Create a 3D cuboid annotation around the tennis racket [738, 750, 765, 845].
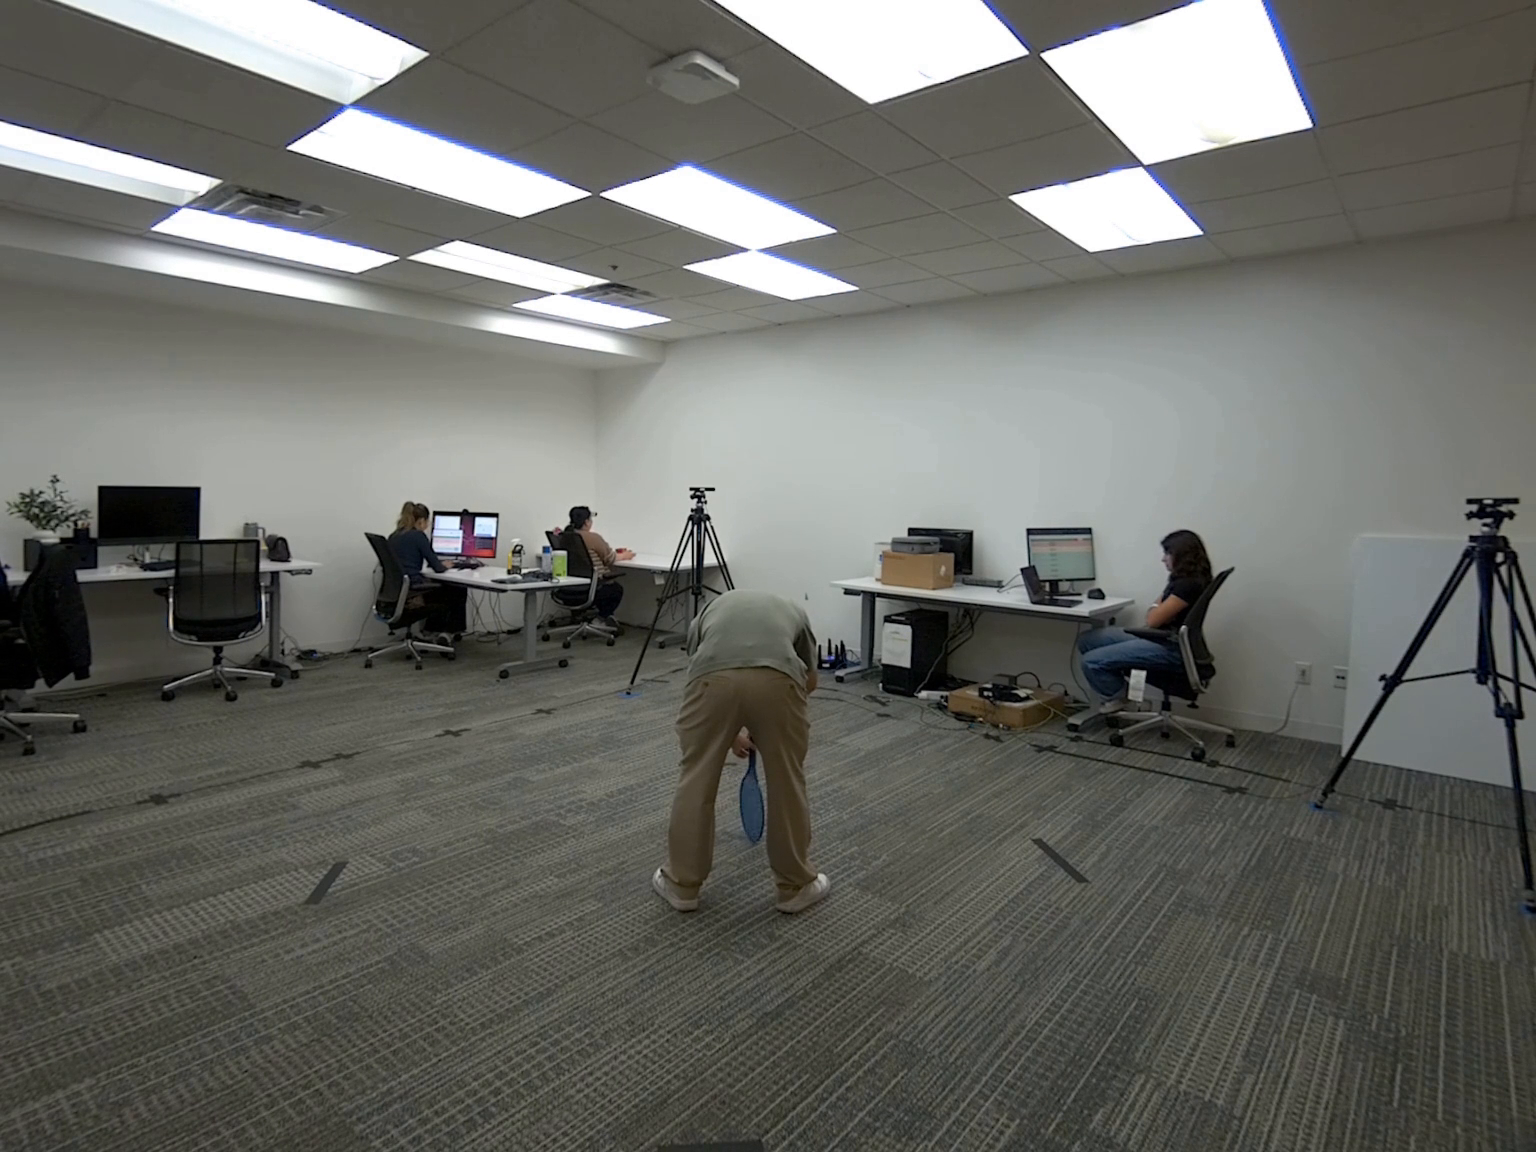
[{"bbox_3d":[-0.069,0.833,3.340,0.031,0.429,0.220,-2,11,-23],"label":"tennis racket"}]
